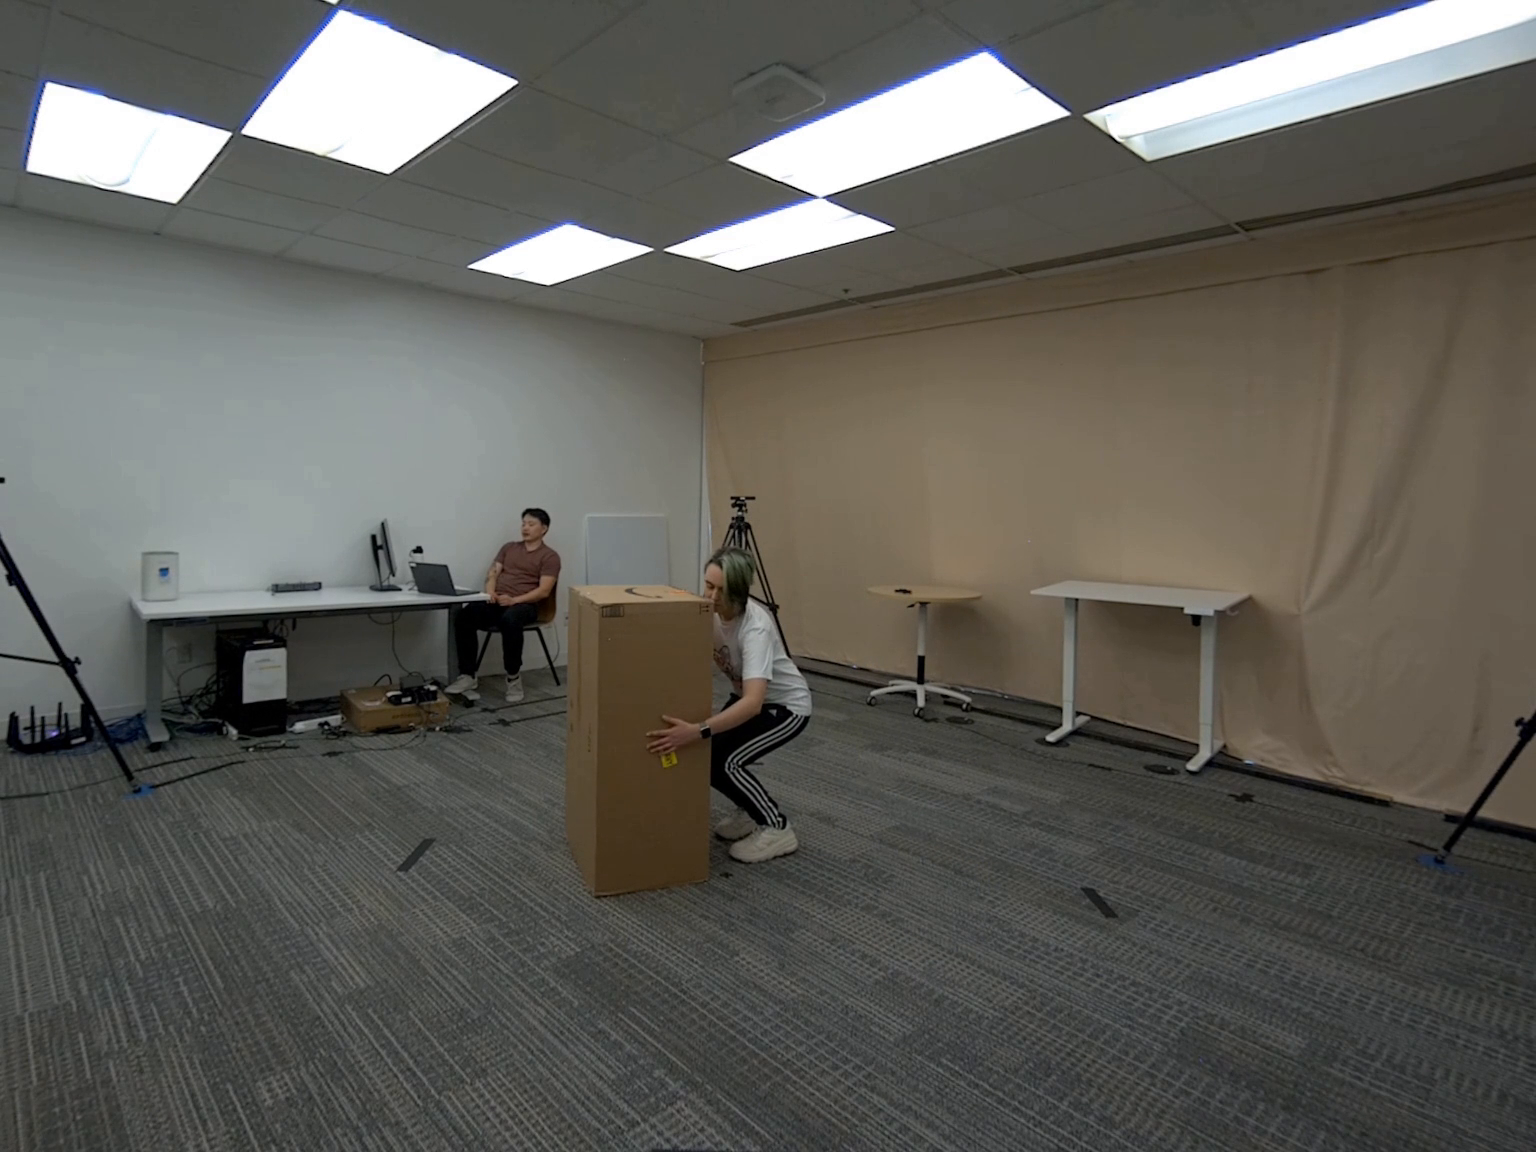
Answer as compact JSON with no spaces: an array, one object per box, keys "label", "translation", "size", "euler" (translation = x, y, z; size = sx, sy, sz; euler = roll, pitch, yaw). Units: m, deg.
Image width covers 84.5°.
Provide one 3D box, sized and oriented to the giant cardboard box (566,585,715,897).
[{"label":"giant cardboard box","translation":[-0.517,0.578,3.215],"size":[0.439,1.025,0.595],"euler":[0,3,-24]}]
